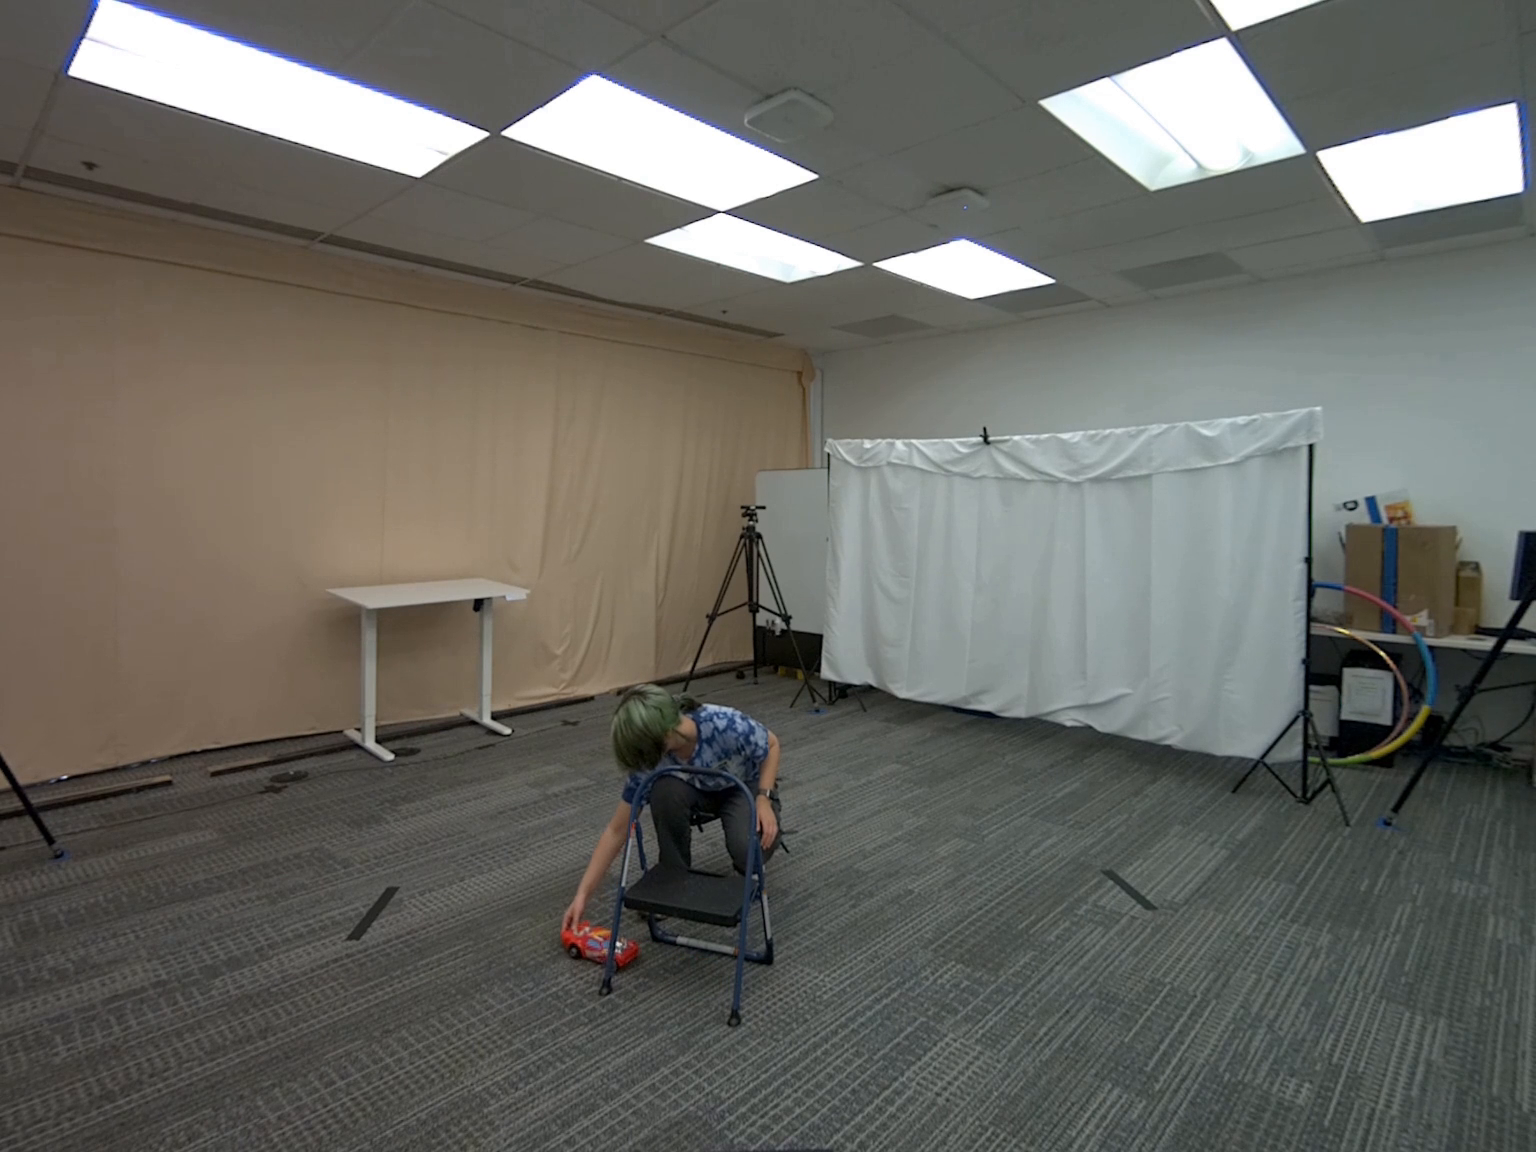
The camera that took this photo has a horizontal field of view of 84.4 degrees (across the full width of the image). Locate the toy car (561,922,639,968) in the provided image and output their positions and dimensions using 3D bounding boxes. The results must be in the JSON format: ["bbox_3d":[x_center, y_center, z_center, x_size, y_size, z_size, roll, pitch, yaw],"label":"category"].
[{"bbox_3d":[-0.523,1.151,2.601,0.262,0.083,0.127,14,11,29],"label":"toy car"}]
